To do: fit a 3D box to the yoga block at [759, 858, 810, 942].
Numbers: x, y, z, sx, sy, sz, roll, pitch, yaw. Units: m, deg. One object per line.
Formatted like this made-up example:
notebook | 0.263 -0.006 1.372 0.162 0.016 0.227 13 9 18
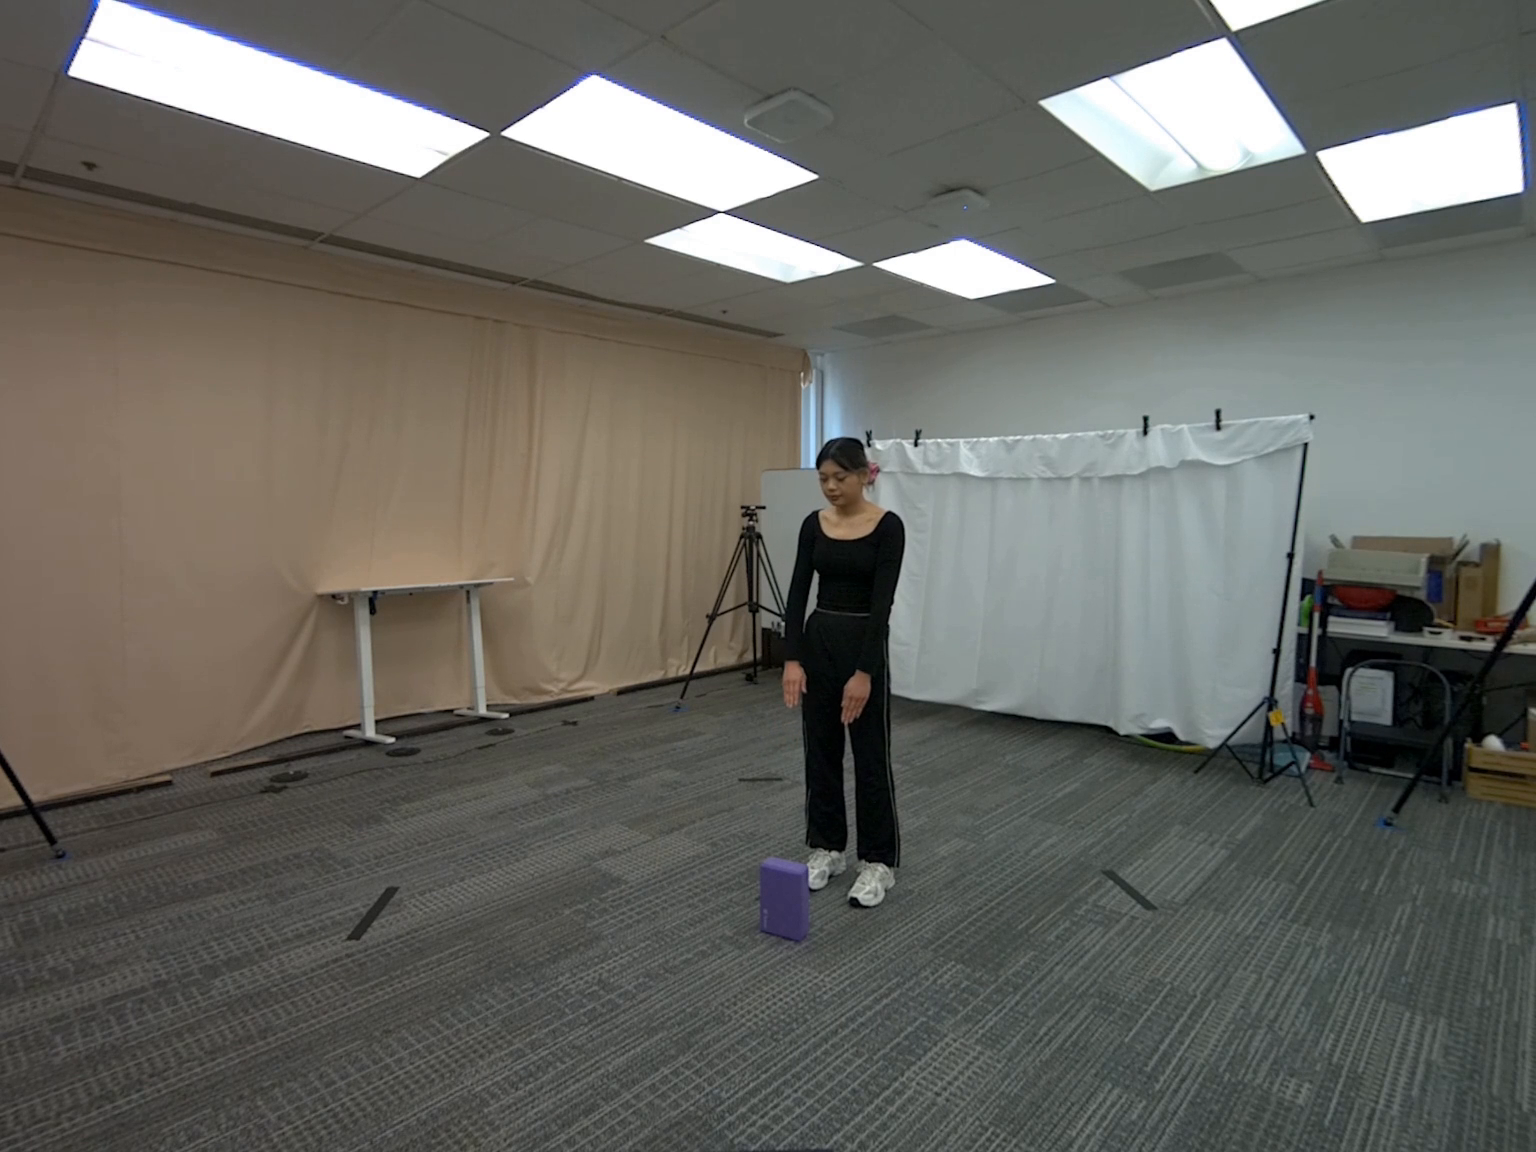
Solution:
yoga block | 0.058 1.049 2.736 0.153 0.229 0.074 2 4 28
